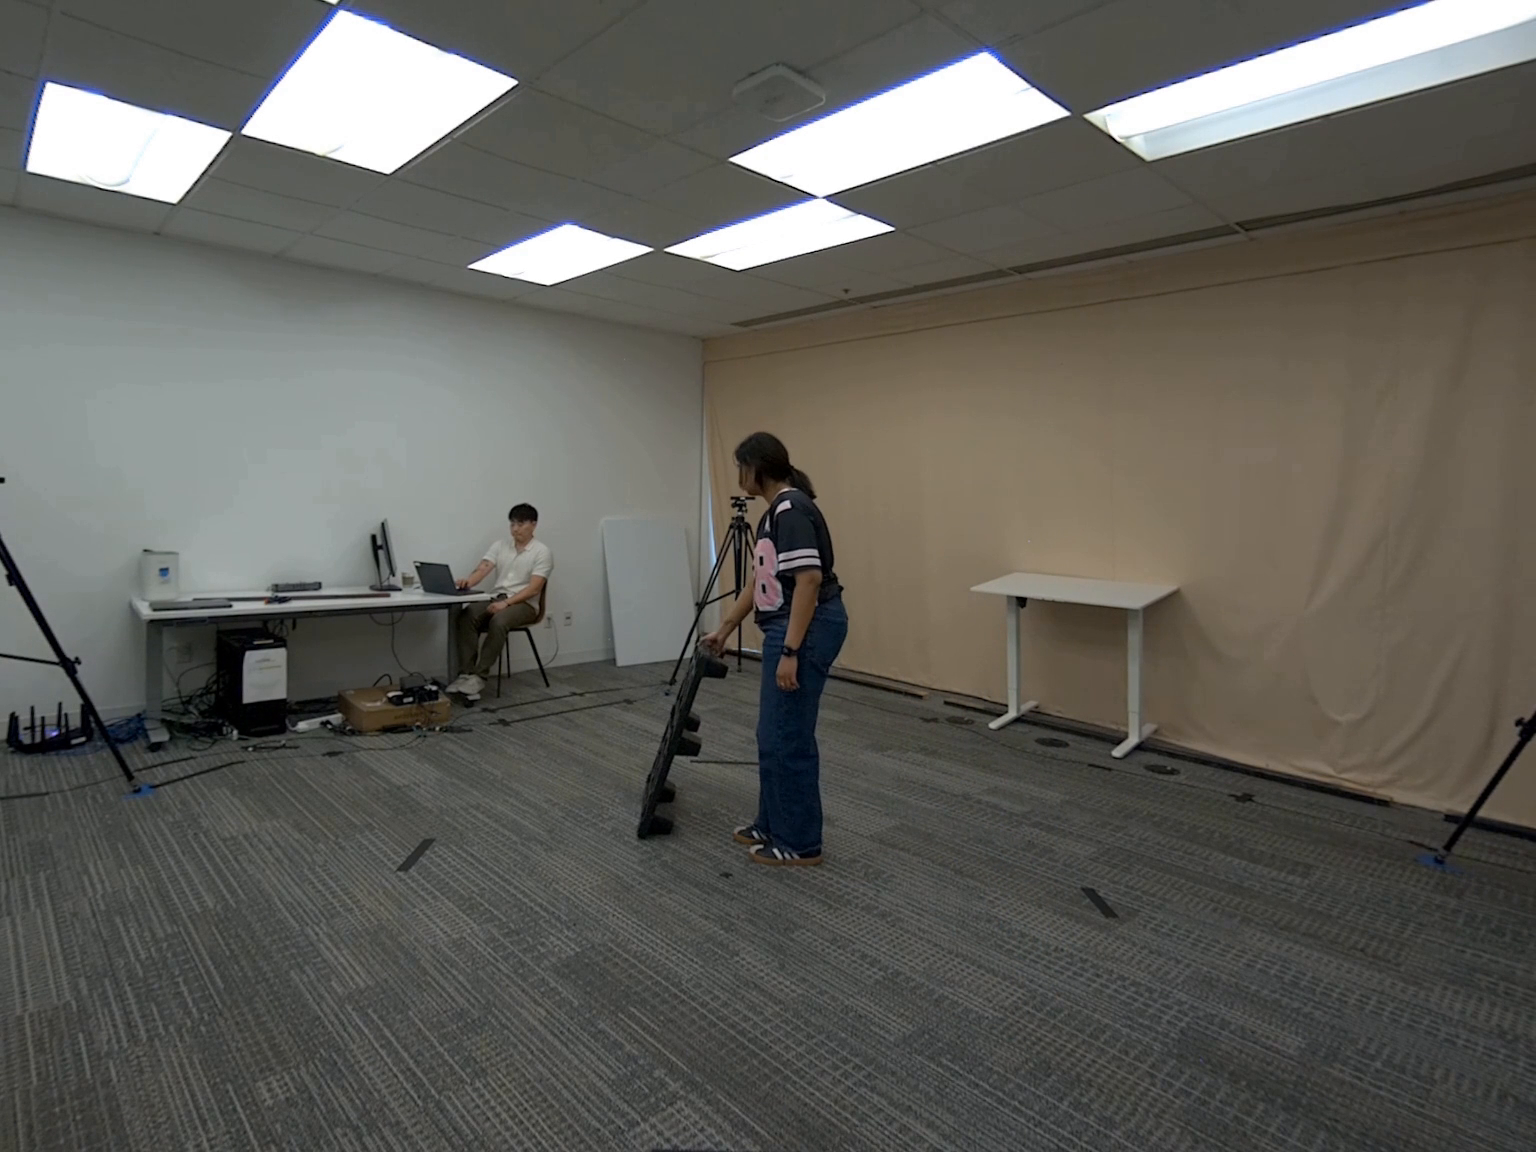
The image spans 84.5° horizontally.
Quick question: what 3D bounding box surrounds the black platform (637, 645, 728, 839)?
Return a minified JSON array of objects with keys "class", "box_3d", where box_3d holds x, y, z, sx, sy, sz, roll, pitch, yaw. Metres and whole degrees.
[{"class":"black platform","box_3d":[-0.376,0.676,3.688,0.143,0.804,0.608,19,3,-6]}]
